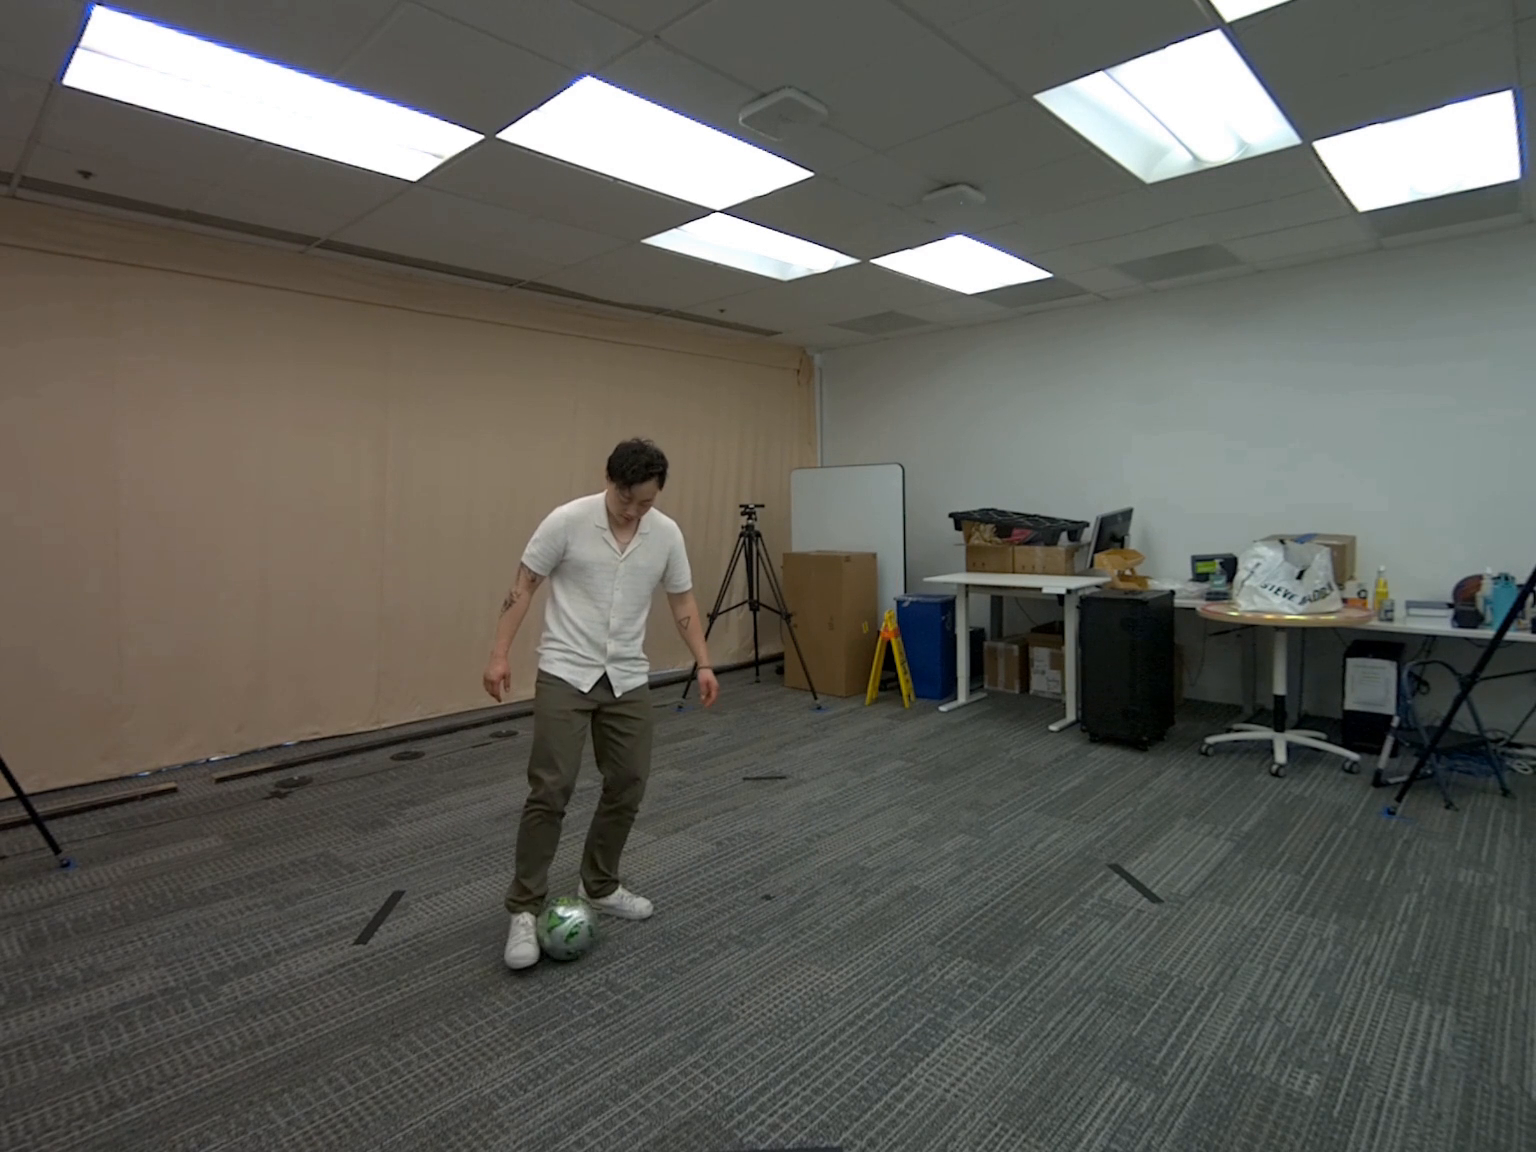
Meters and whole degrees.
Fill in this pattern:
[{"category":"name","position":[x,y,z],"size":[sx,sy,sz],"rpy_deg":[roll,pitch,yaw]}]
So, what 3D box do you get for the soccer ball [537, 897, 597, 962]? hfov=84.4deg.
[{"category":"soccer ball","position":[-0.619,1.087,2.621],"size":[0.187,0.187,0.188],"rpy_deg":[-1,4,-2]}]
